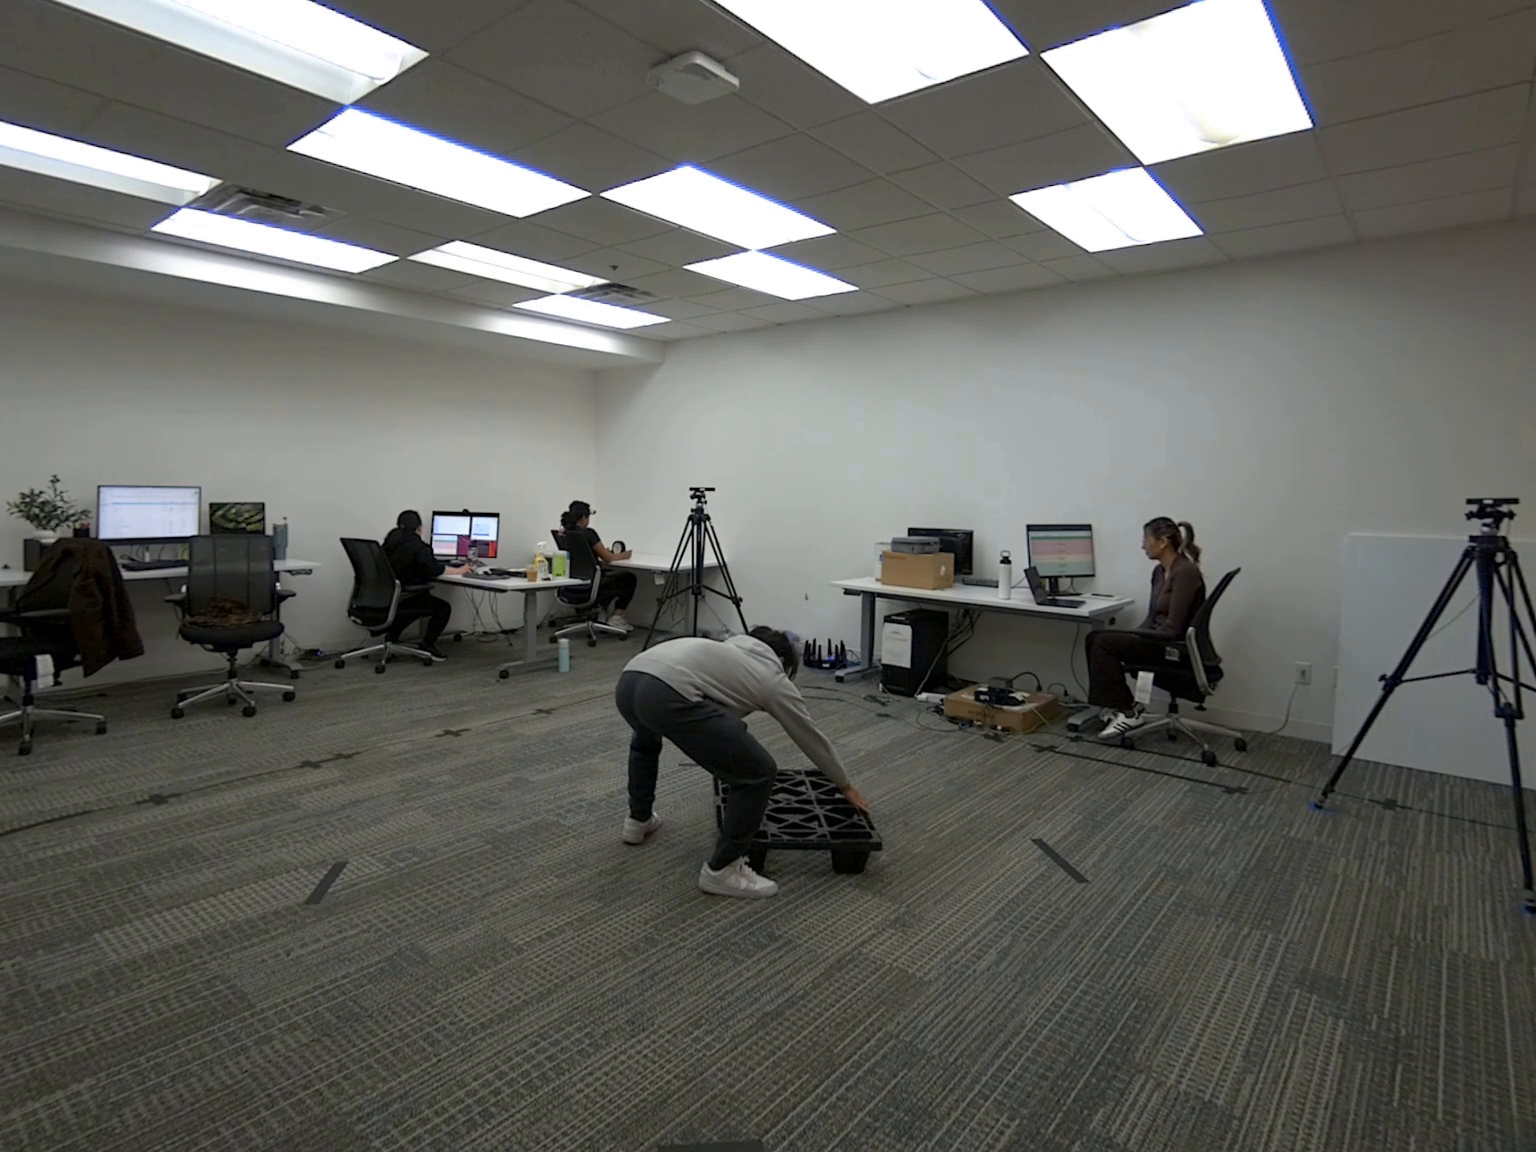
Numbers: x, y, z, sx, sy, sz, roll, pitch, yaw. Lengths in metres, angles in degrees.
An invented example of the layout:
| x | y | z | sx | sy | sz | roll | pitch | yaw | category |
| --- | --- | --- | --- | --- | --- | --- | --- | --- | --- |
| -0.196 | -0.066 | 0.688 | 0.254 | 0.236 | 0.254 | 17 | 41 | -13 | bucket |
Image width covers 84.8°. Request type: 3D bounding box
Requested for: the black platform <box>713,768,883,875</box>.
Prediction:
| x | y | z | sx | sy | sz | roll | pitch | yaw | category |
| --- | --- | --- | --- | --- | --- | --- | --- | --- | --- |
| 0.068 | 0.970 | 3.439 | 0.603 | 0.143 | 0.812 | 0 | 5 | -5 | black platform |
